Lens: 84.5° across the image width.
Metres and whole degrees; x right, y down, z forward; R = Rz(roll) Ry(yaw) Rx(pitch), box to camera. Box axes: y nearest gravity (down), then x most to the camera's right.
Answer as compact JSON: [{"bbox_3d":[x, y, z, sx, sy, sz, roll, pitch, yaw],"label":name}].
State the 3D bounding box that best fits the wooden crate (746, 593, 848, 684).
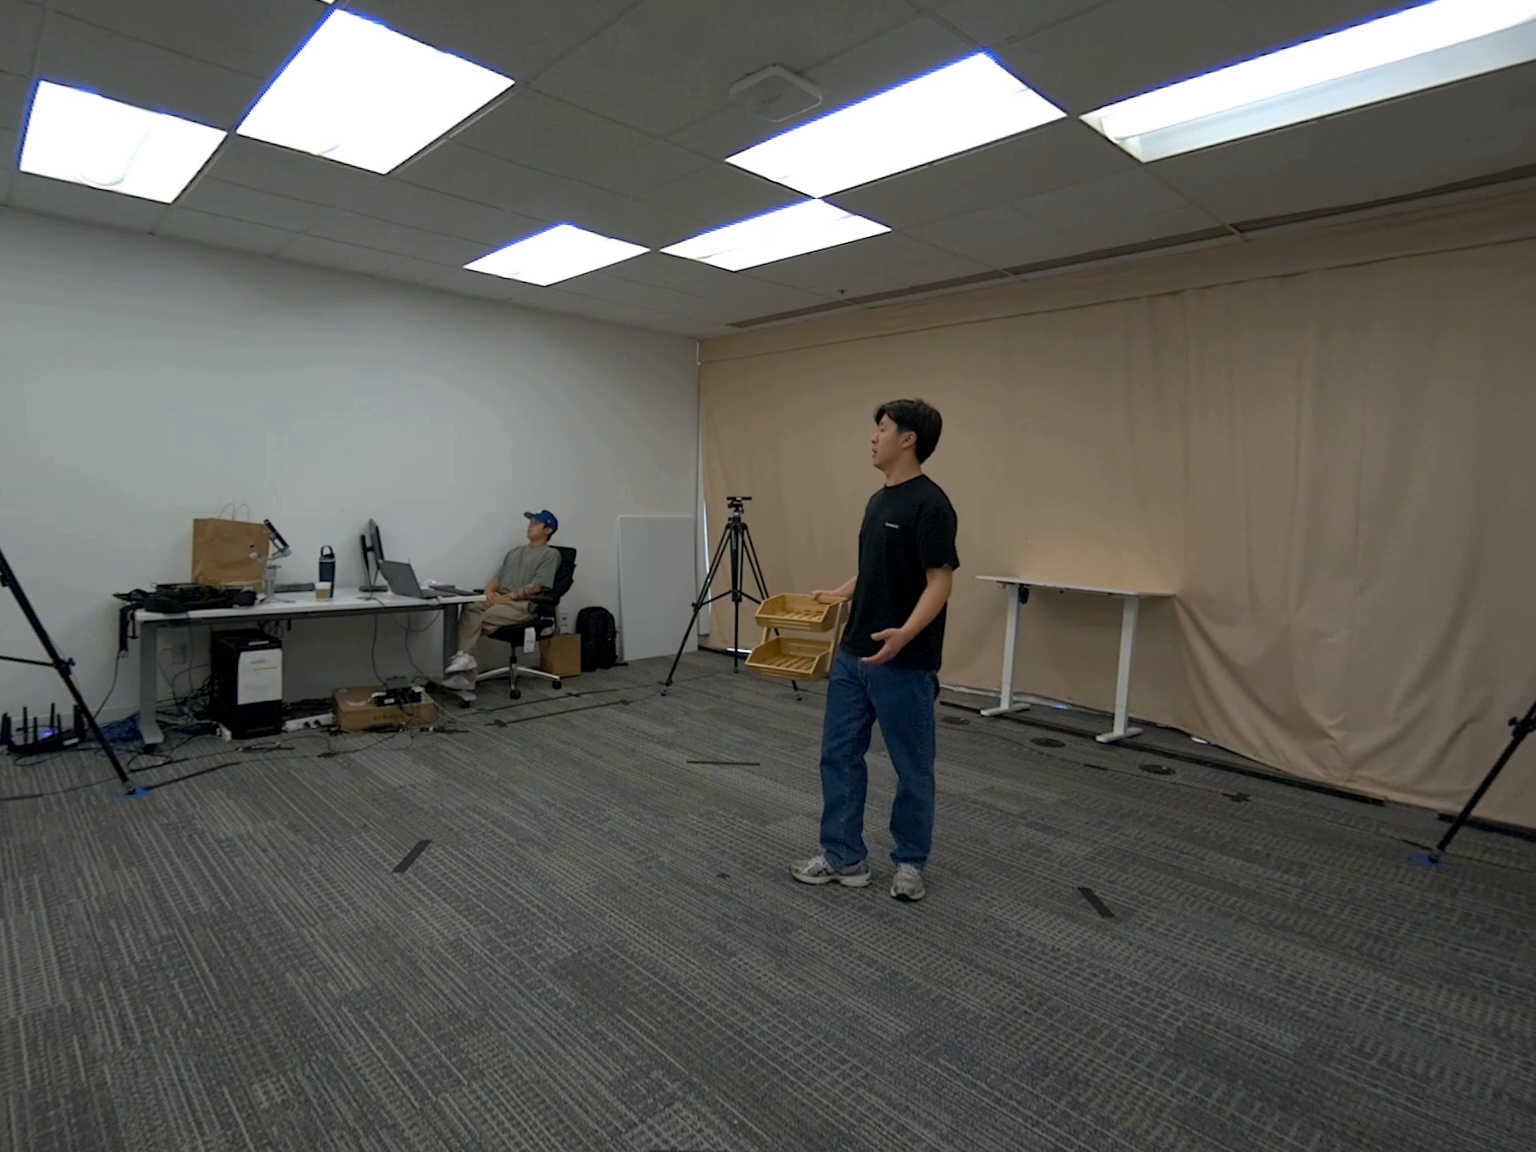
[{"bbox_3d":[0.102,0.230,3.263,0.332,0.271,0.297,3,12,35],"label":"wooden crate"}]
